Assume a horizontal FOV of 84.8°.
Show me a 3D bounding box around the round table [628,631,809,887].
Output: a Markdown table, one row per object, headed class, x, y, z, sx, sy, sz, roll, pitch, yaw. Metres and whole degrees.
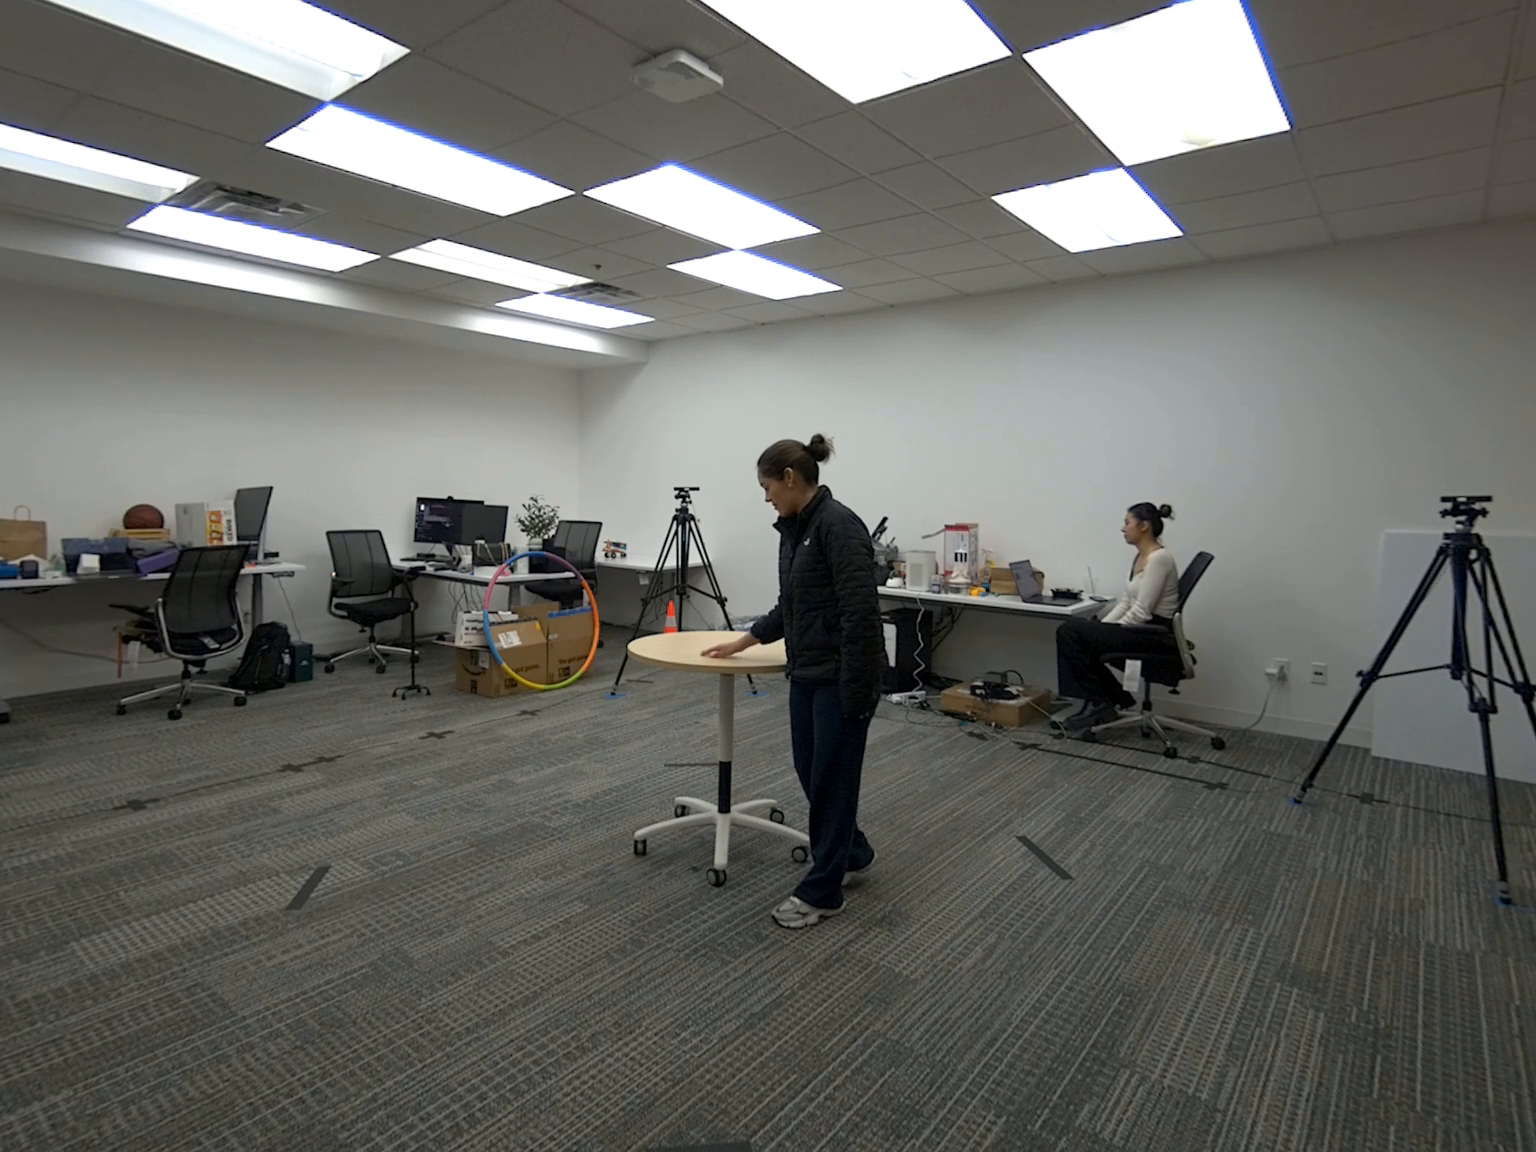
| class | x | y | z | sx | sy | sz | roll | pitch | yaw |
| --- | --- | --- | --- | --- | --- | --- | --- | --- | --- |
| round table | -0.139 | 0.655 | 3.286 | 0.784 | 0.784 | 0.789 | 1 | 4 | -2 |
